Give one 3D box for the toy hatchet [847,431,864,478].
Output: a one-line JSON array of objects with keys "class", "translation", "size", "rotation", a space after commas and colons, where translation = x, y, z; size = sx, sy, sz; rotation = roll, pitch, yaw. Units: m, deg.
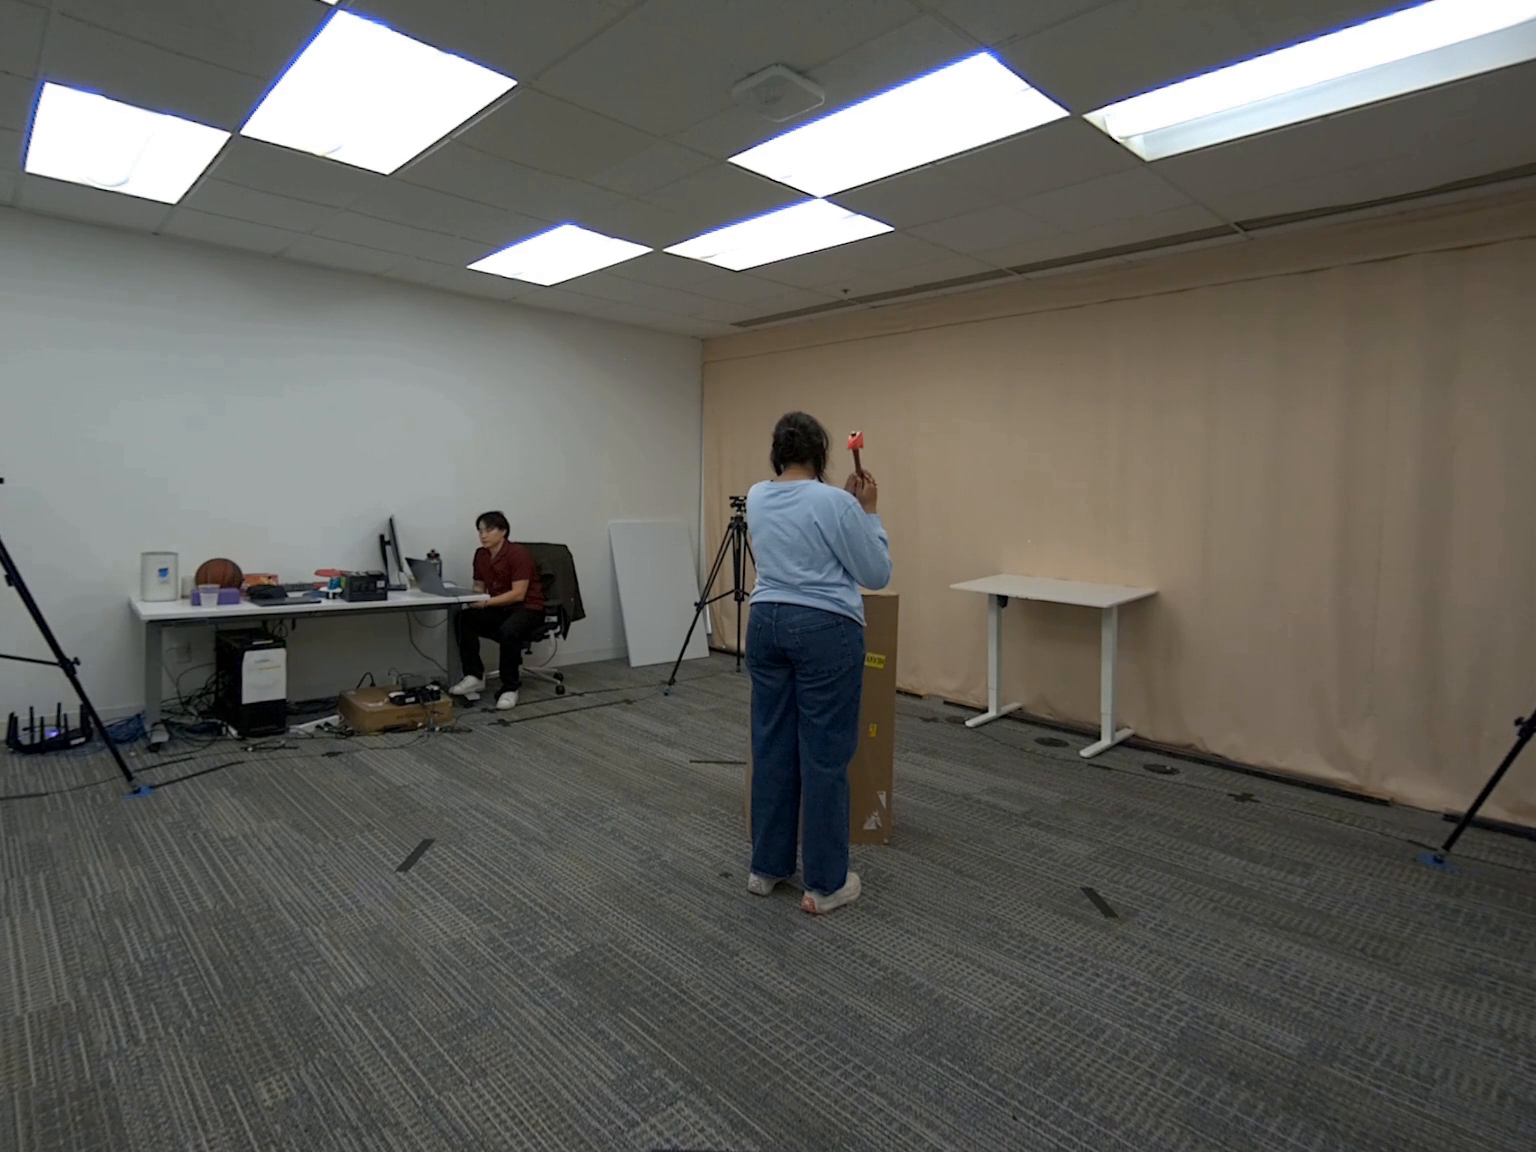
[{"class": "toy hatchet", "translation": [0.319, -0.396, 2.913], "size": [0.030, 0.132, 0.262], "rotation": [5, -37, 27]}]
